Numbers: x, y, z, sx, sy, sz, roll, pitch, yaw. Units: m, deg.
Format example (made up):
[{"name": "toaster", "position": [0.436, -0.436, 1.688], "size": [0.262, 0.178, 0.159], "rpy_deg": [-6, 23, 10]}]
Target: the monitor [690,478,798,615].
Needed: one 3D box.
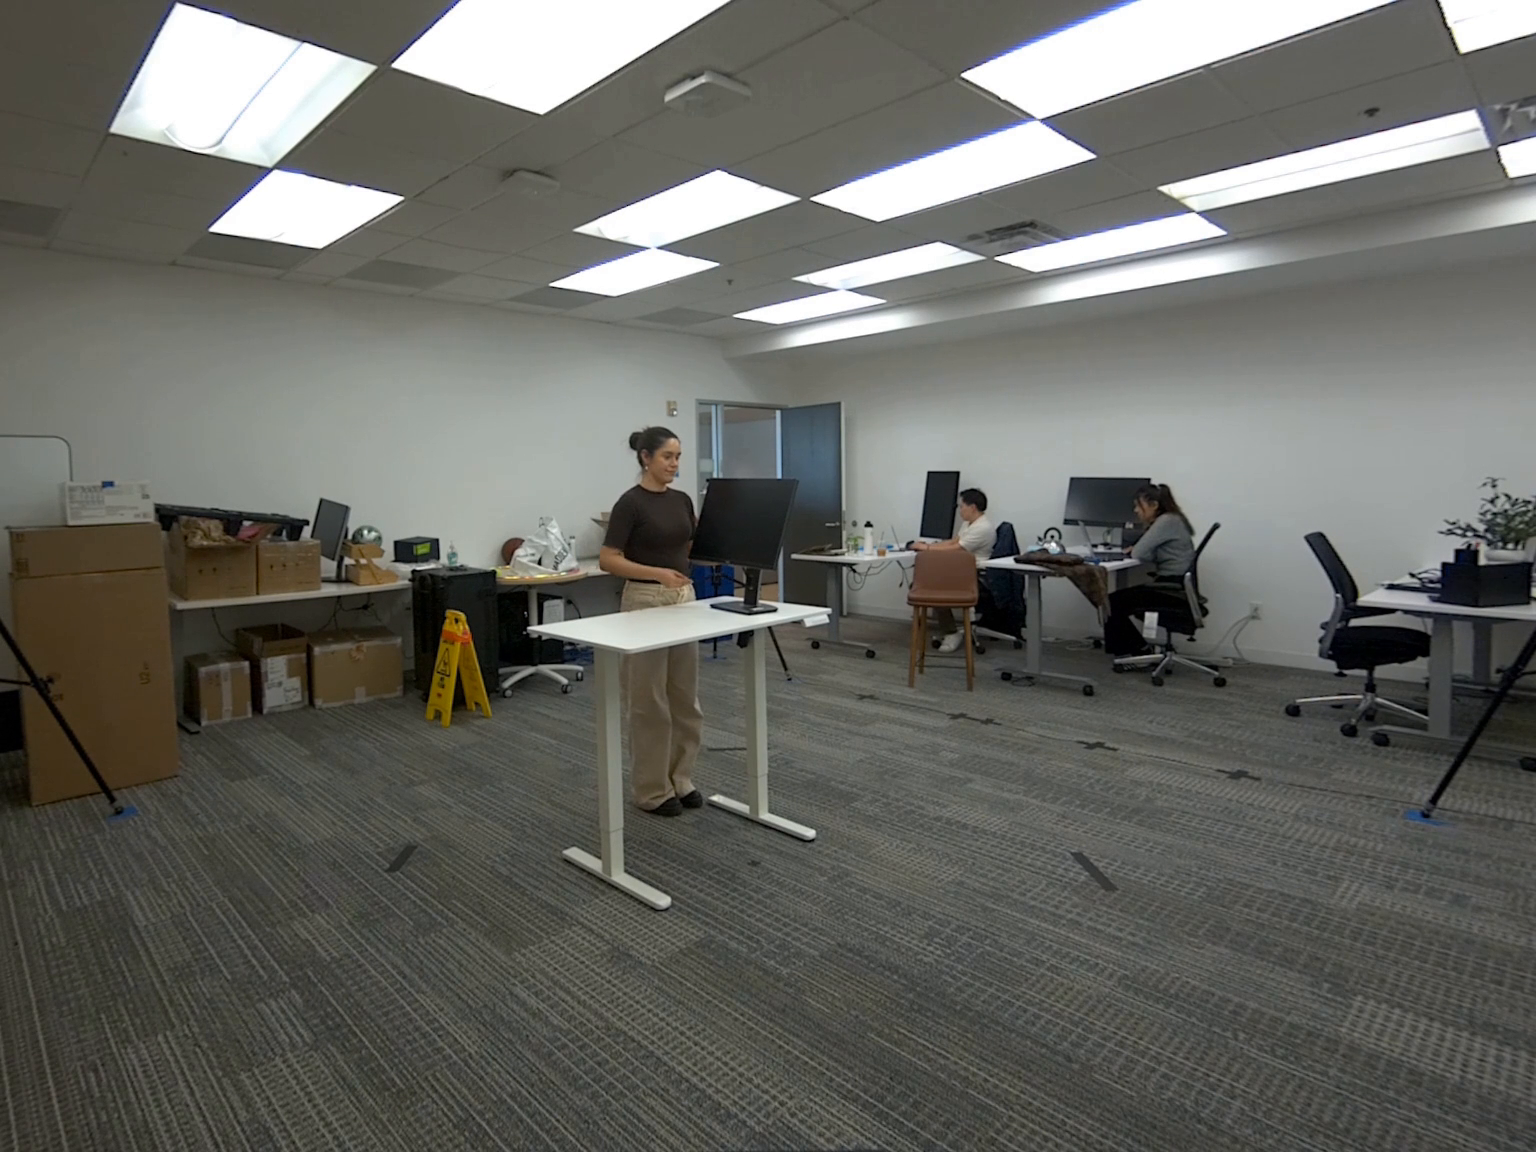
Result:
[{"name": "monitor", "position": [-0.085, -0.123, 3.358], "size": [0.182, 0.521, 0.556], "rpy_deg": [1, 4, -41]}]
